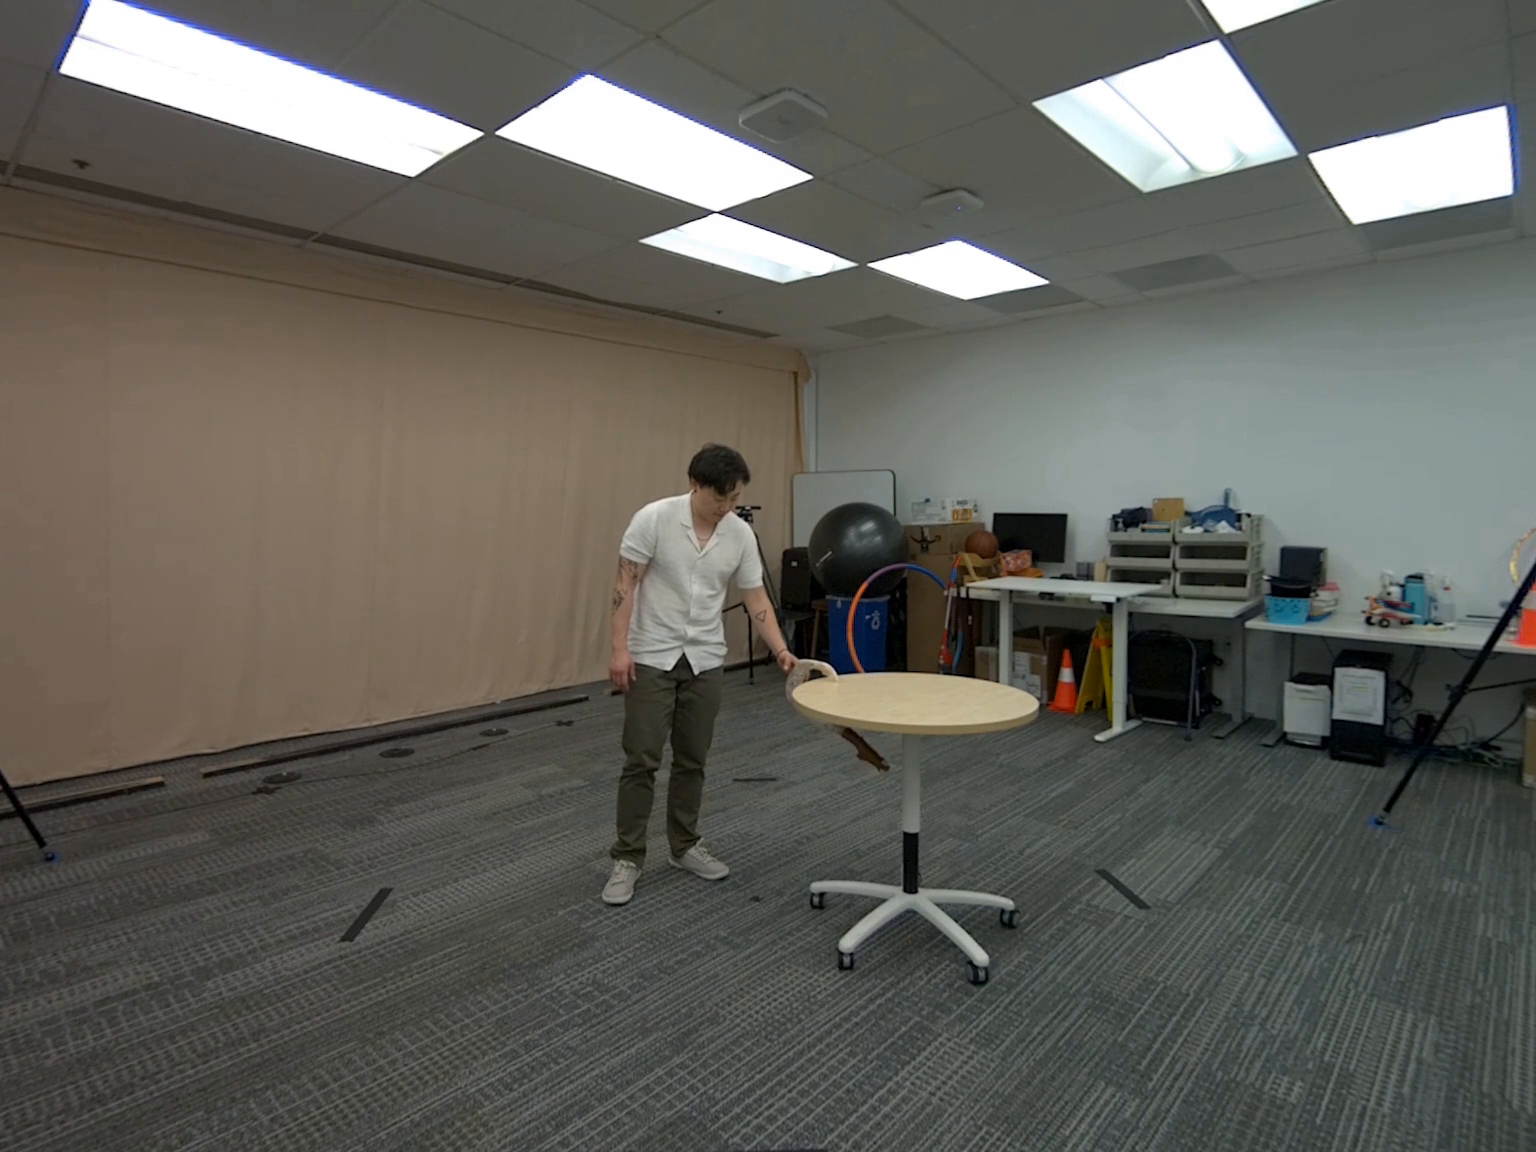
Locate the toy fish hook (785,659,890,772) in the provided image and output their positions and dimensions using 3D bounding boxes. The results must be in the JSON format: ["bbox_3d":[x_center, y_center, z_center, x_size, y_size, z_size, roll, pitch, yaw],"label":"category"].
[{"bbox_3d":[0.254,0.471,2.900,0.047,0.223,0.525,0,27,-44],"label":"toy fish hook"}]
